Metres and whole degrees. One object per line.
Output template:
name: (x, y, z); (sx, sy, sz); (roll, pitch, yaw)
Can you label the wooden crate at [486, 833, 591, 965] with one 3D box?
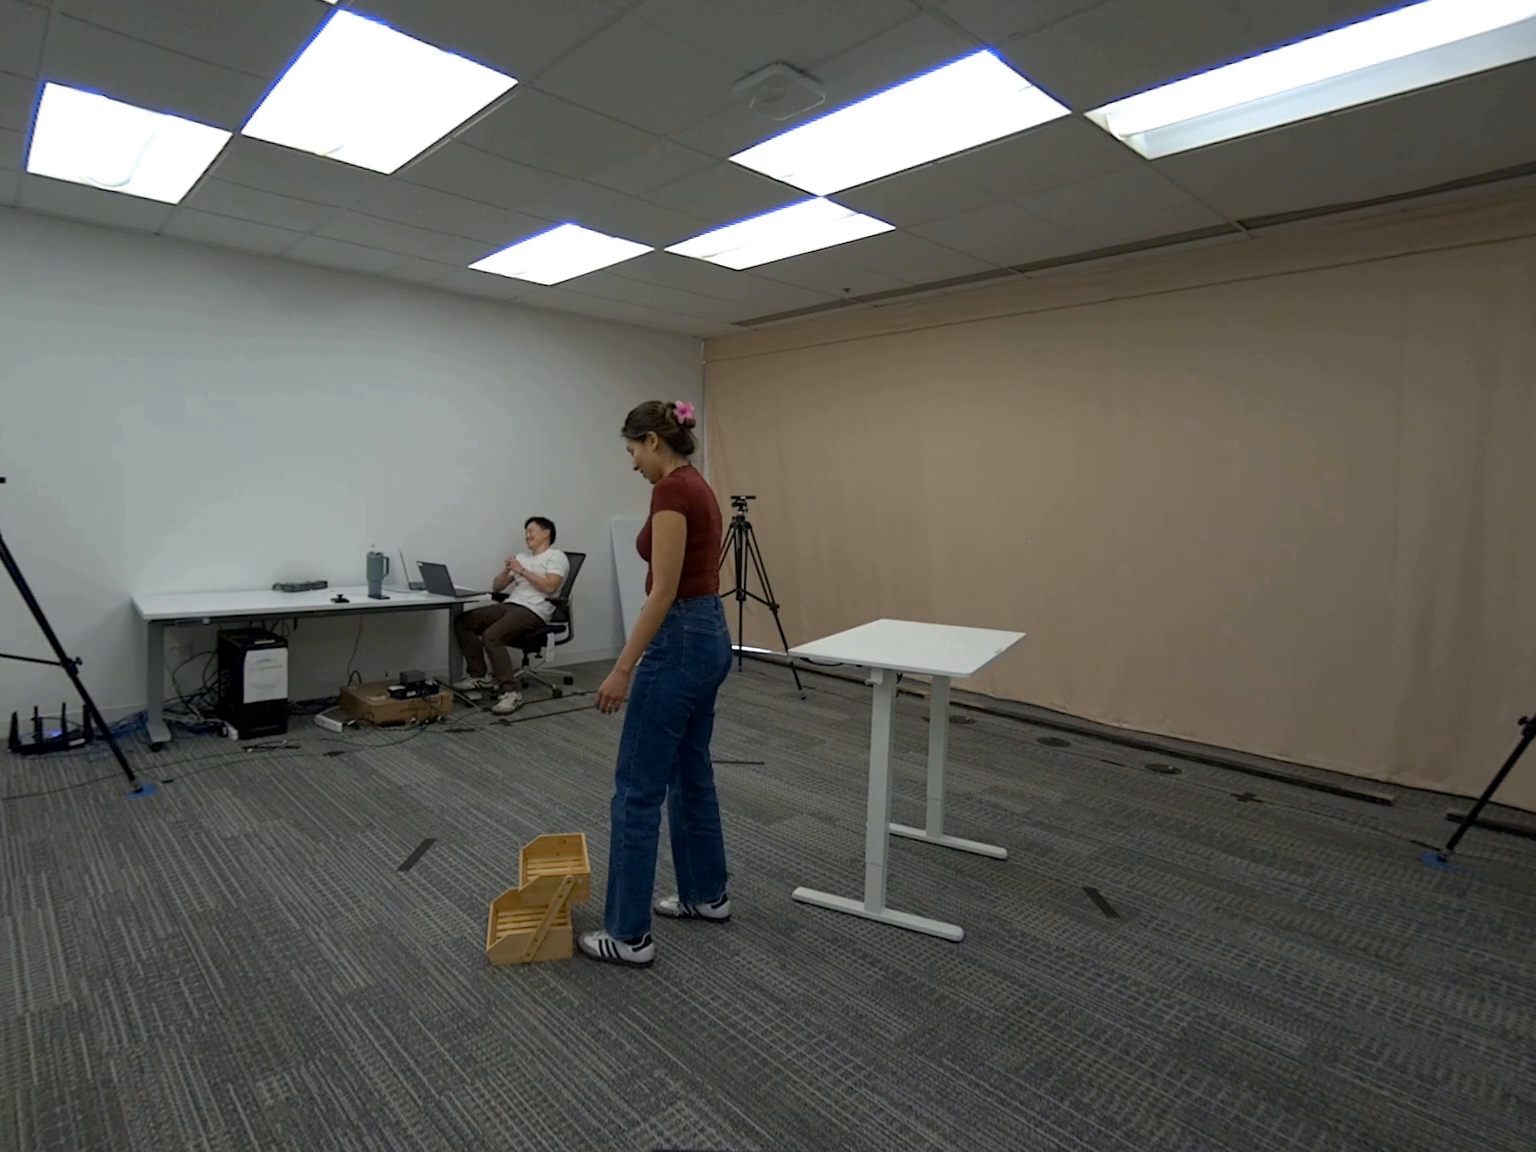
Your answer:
wooden crate: (-0.721, 0.994, 2.639); (0.298, 0.272, 0.329); (1, 4, -15)
